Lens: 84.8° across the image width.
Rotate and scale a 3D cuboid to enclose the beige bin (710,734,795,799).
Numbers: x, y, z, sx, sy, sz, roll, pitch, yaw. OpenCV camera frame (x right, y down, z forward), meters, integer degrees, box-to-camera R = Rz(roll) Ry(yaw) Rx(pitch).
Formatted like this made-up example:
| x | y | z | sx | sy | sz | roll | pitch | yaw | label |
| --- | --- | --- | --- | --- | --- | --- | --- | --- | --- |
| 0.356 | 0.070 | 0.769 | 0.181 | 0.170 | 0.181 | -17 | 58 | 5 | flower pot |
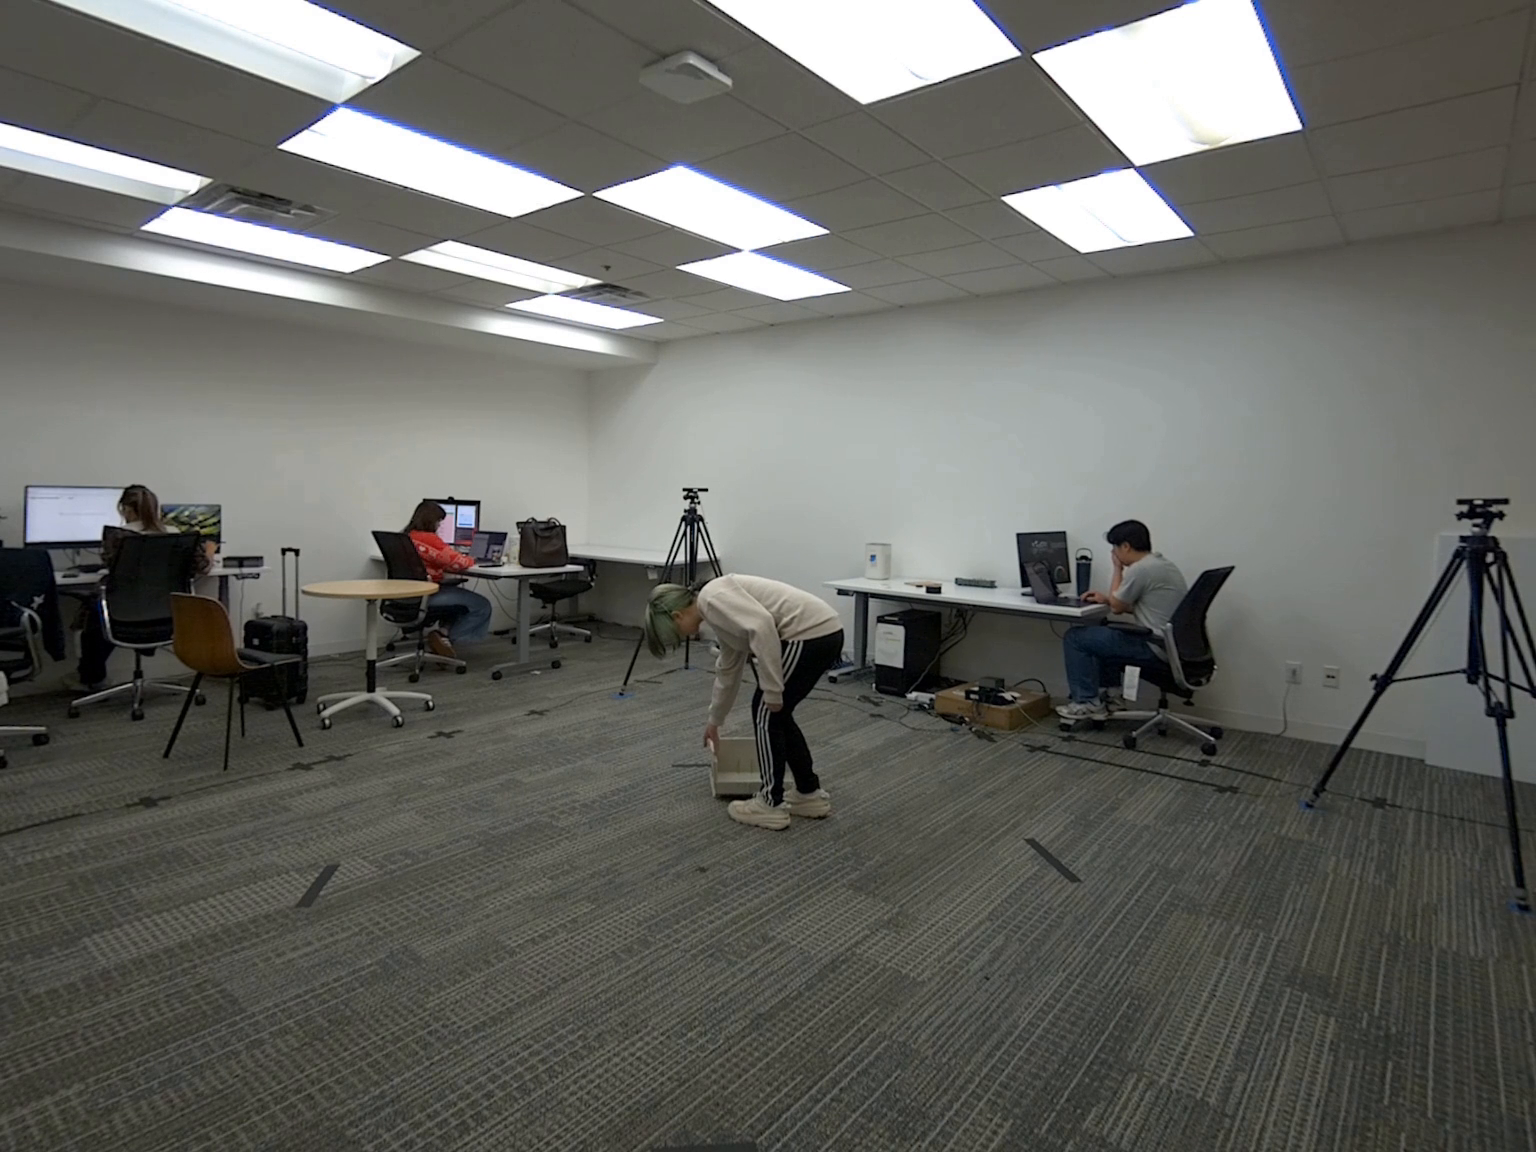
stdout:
| x | y | z | sx | sy | sz | roll | pitch | yaw | label |
| --- | --- | --- | --- | --- | --- | --- | --- | --- | --- |
| -0.064 | 0.894 | 3.983 | 0.420 | 0.188 | 0.380 | -1 | 4 | -5 | beige bin |
